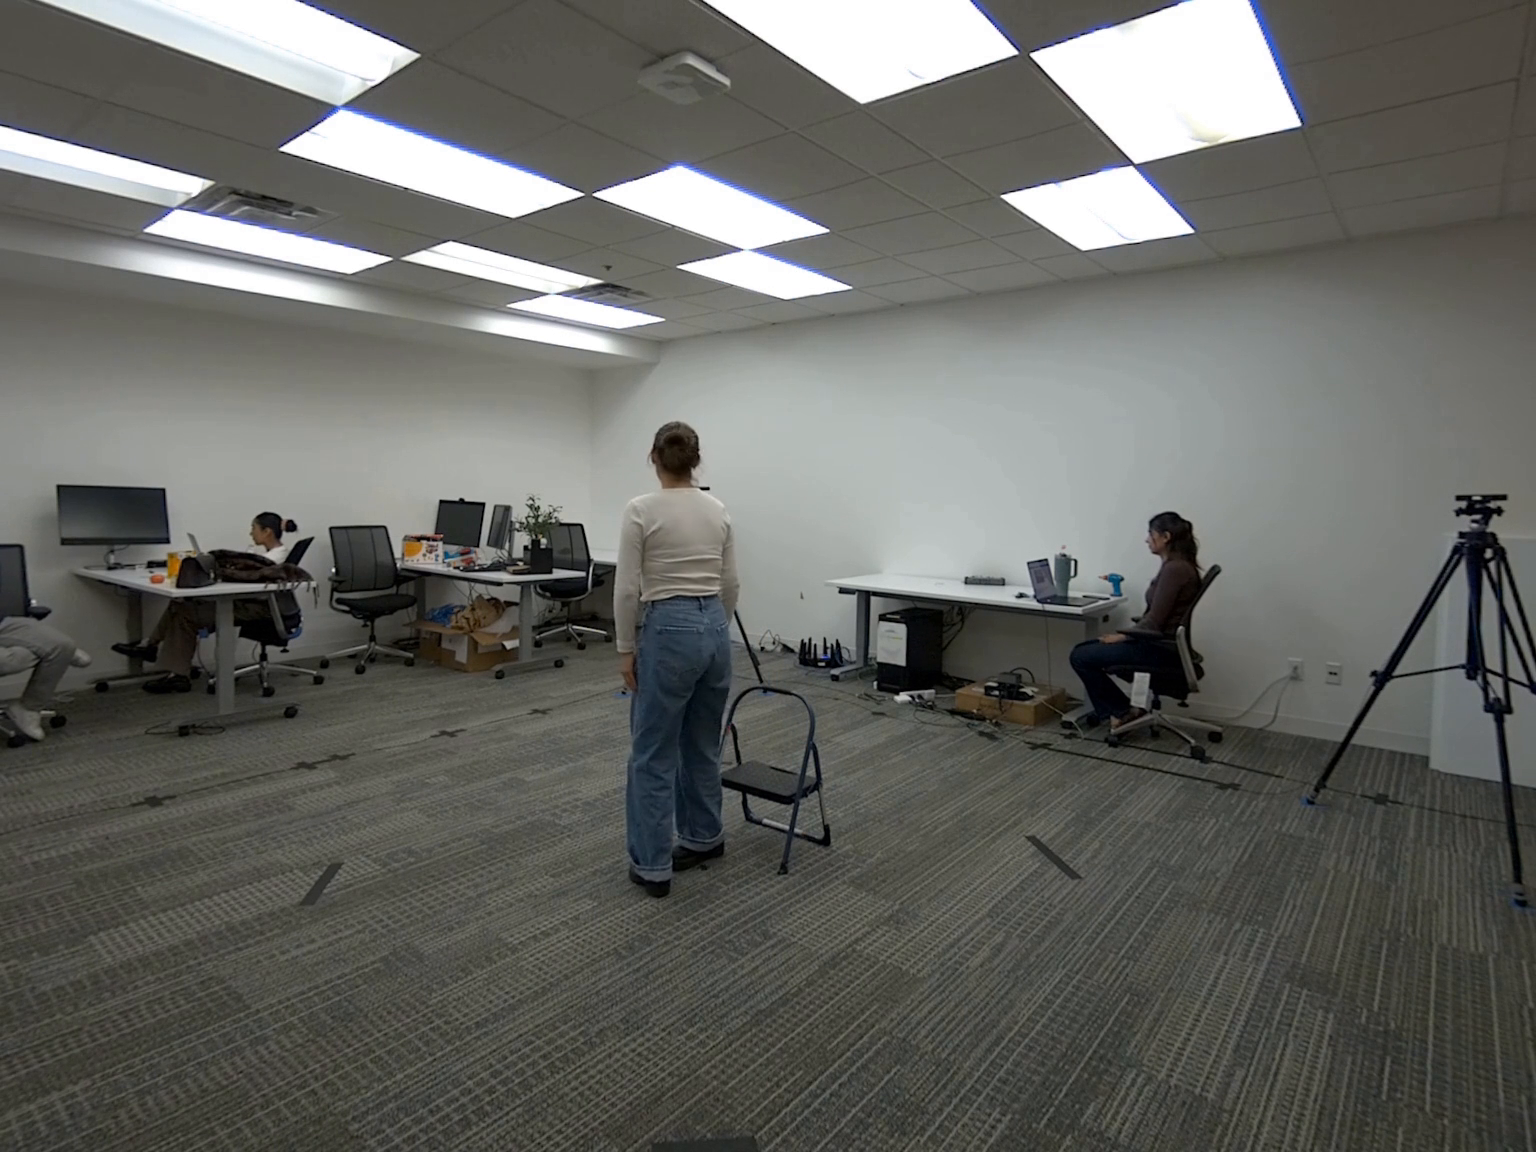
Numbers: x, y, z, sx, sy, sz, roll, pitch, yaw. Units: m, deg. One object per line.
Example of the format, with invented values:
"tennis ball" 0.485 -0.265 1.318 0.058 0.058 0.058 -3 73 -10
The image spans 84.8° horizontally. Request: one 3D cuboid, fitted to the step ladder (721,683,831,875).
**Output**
"step ladder" -0.018 0.743 3.314 0.445 0.604 0.339 4 5 36
